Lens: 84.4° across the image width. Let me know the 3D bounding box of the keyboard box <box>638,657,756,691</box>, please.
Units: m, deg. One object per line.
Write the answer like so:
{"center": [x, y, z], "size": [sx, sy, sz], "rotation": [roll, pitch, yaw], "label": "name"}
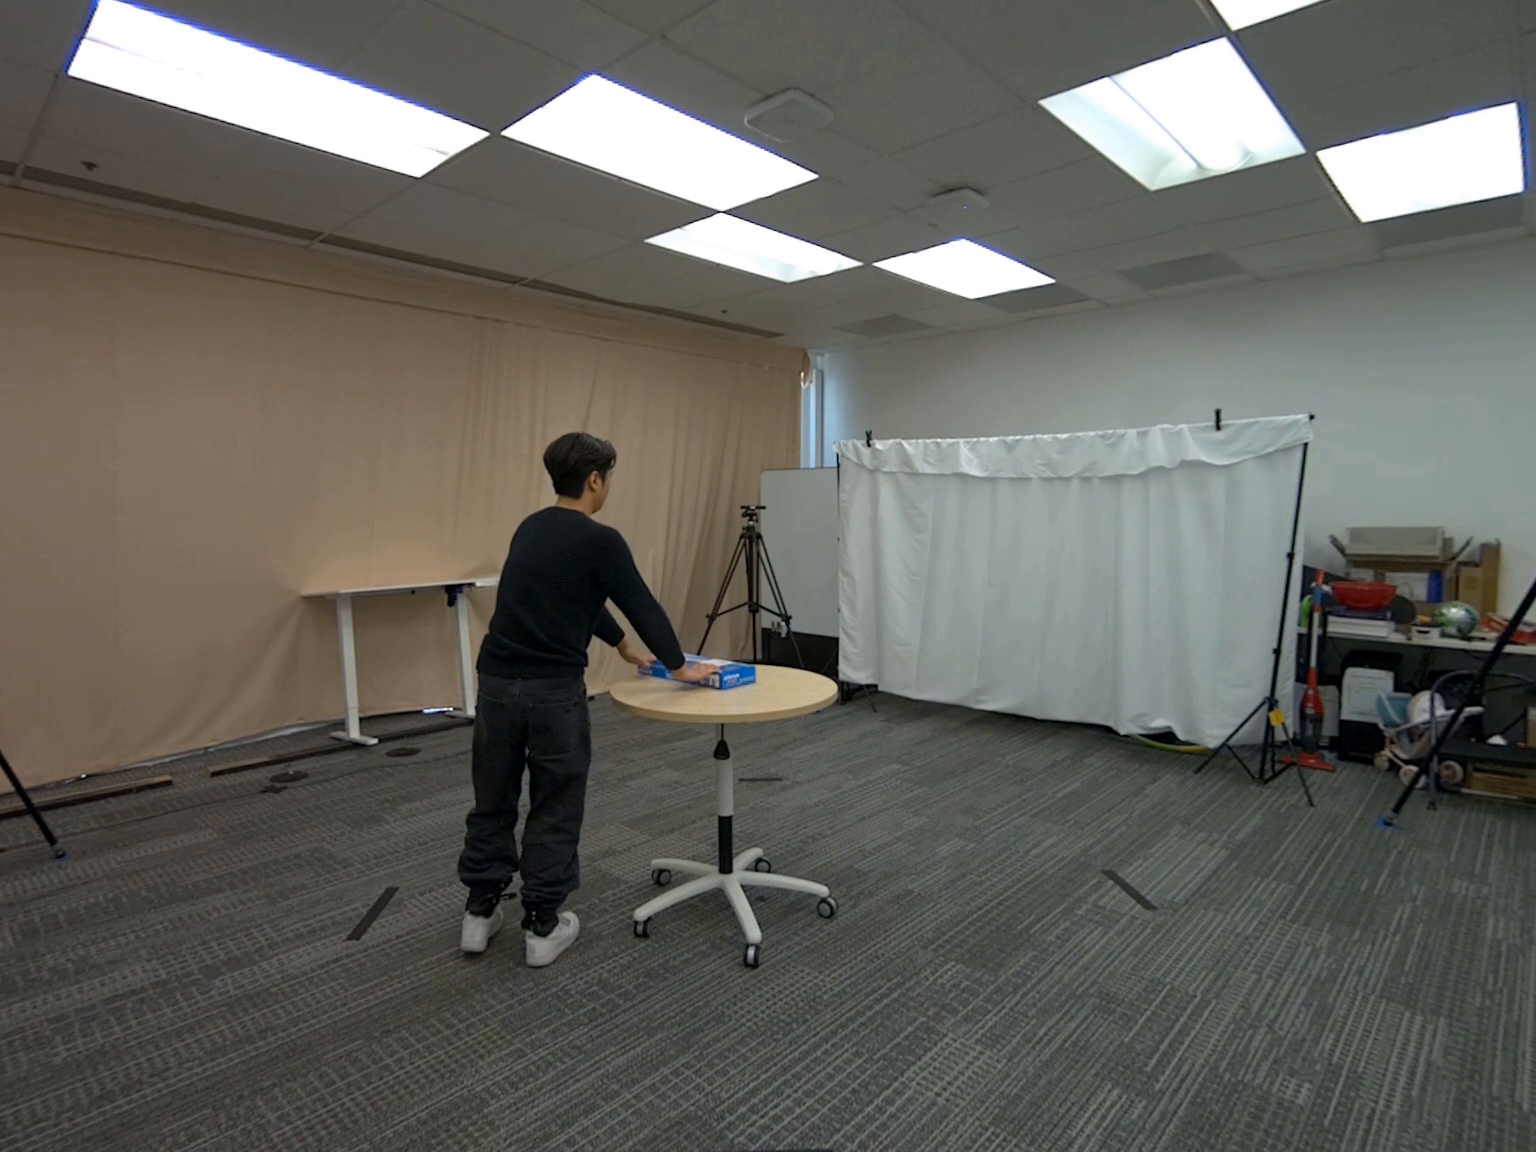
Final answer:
{"center": [-0.259, 0.334, 2.995], "size": [0.451, 0.059, 0.171], "rotation": [5, 8, 43], "label": "keyboard box"}
